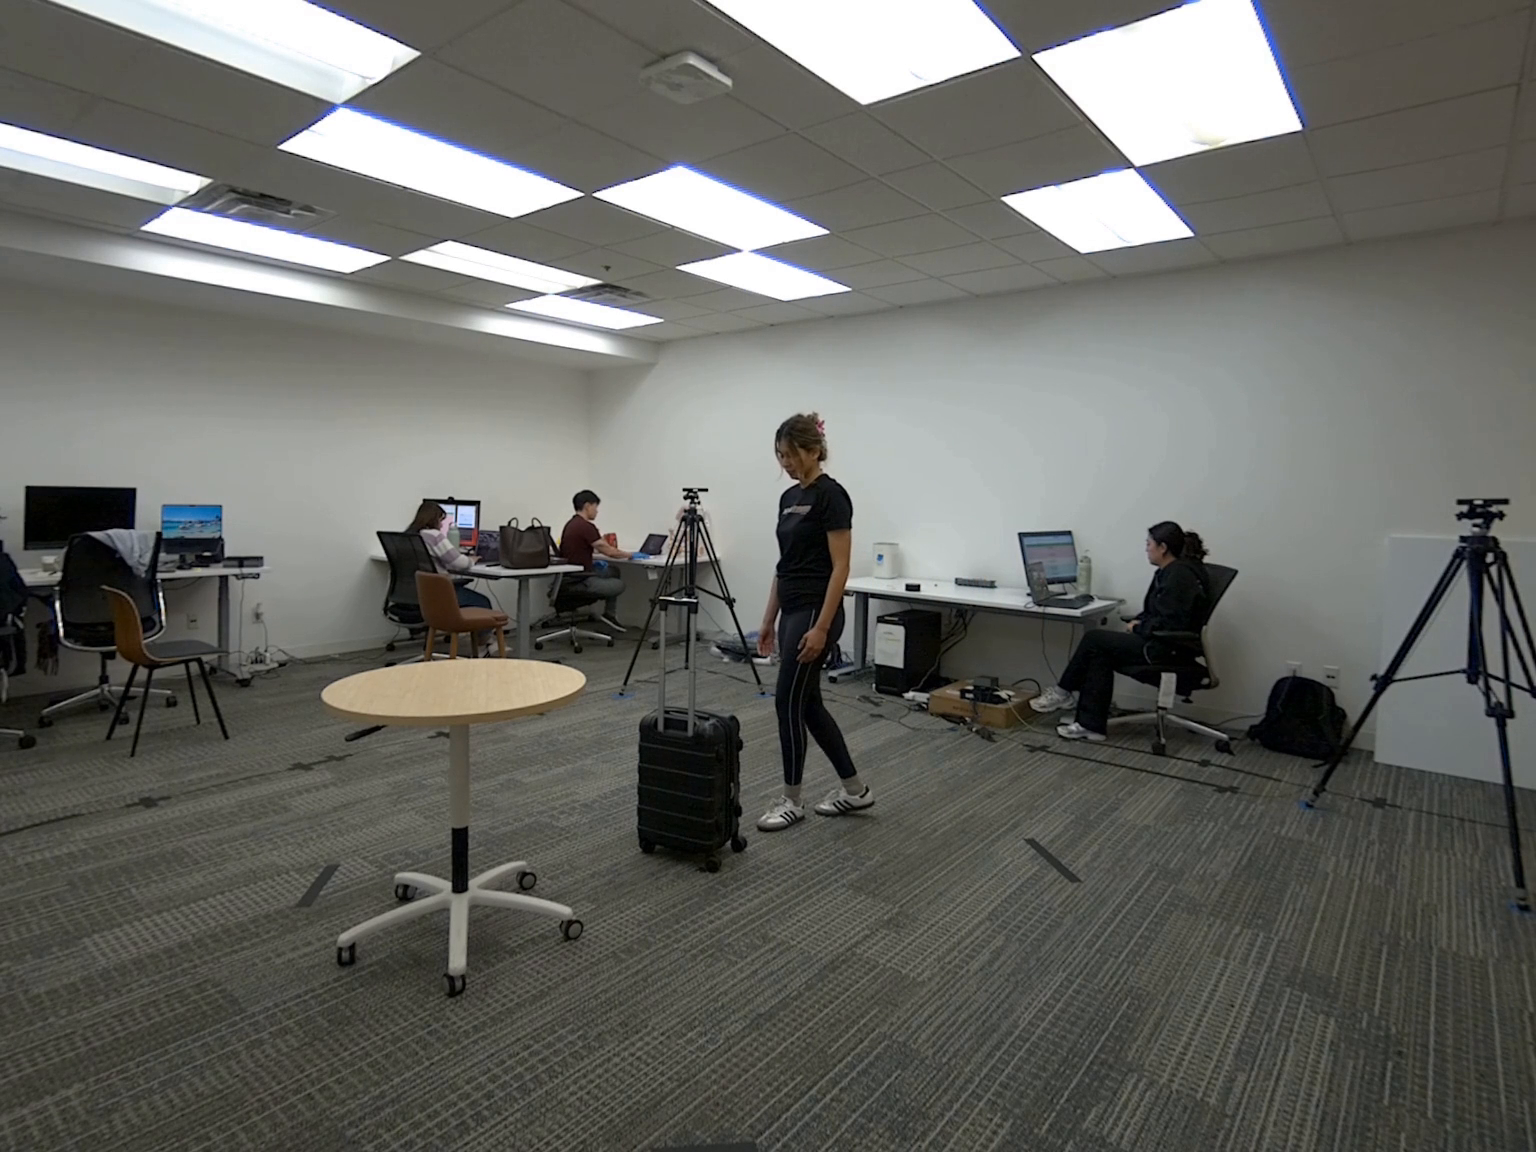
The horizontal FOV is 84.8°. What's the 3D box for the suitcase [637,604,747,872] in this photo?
[{"bbox_3d":[-0.310,0.577,3.255,0.394,0.978,0.250,1,1,28],"label":"suitcase"}]
